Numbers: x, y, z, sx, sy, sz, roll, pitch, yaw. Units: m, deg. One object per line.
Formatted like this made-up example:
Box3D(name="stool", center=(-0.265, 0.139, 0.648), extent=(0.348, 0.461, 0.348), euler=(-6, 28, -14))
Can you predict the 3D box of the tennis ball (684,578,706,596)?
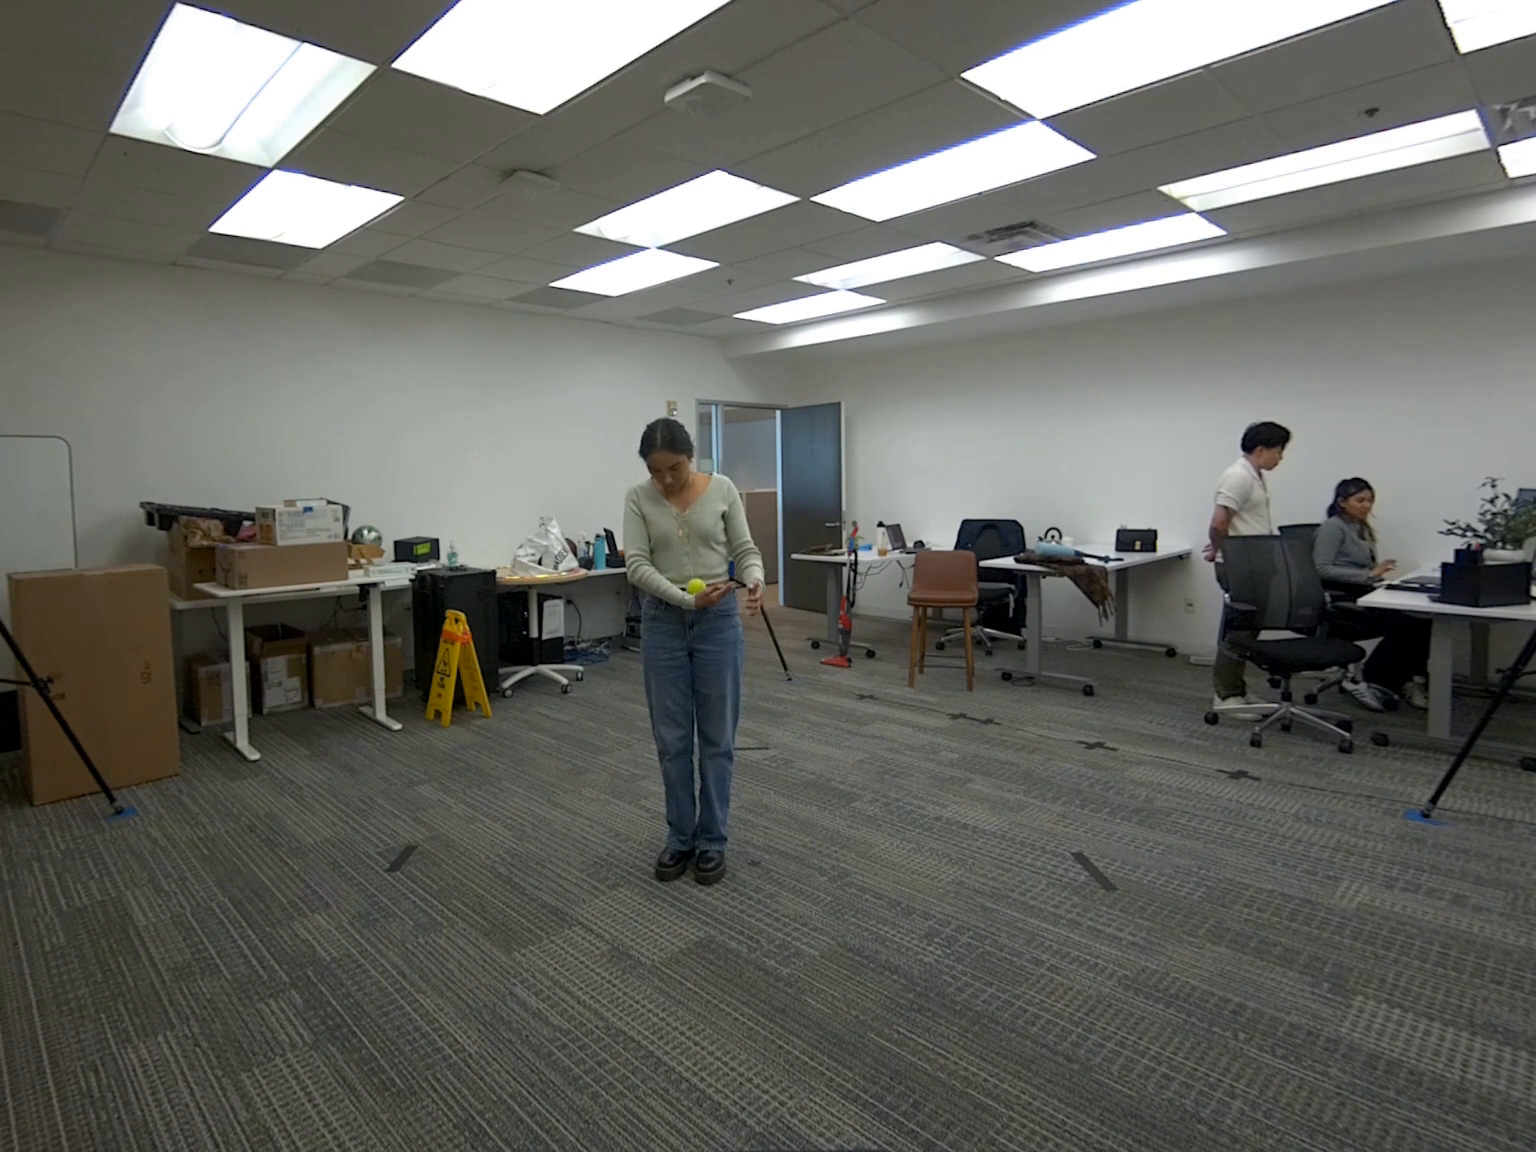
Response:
Box3D(name="tennis ball", center=(-0.256, 0.041, 2.899), extent=(0.066, 0.066, 0.067), euler=(-1, 5, -2))
